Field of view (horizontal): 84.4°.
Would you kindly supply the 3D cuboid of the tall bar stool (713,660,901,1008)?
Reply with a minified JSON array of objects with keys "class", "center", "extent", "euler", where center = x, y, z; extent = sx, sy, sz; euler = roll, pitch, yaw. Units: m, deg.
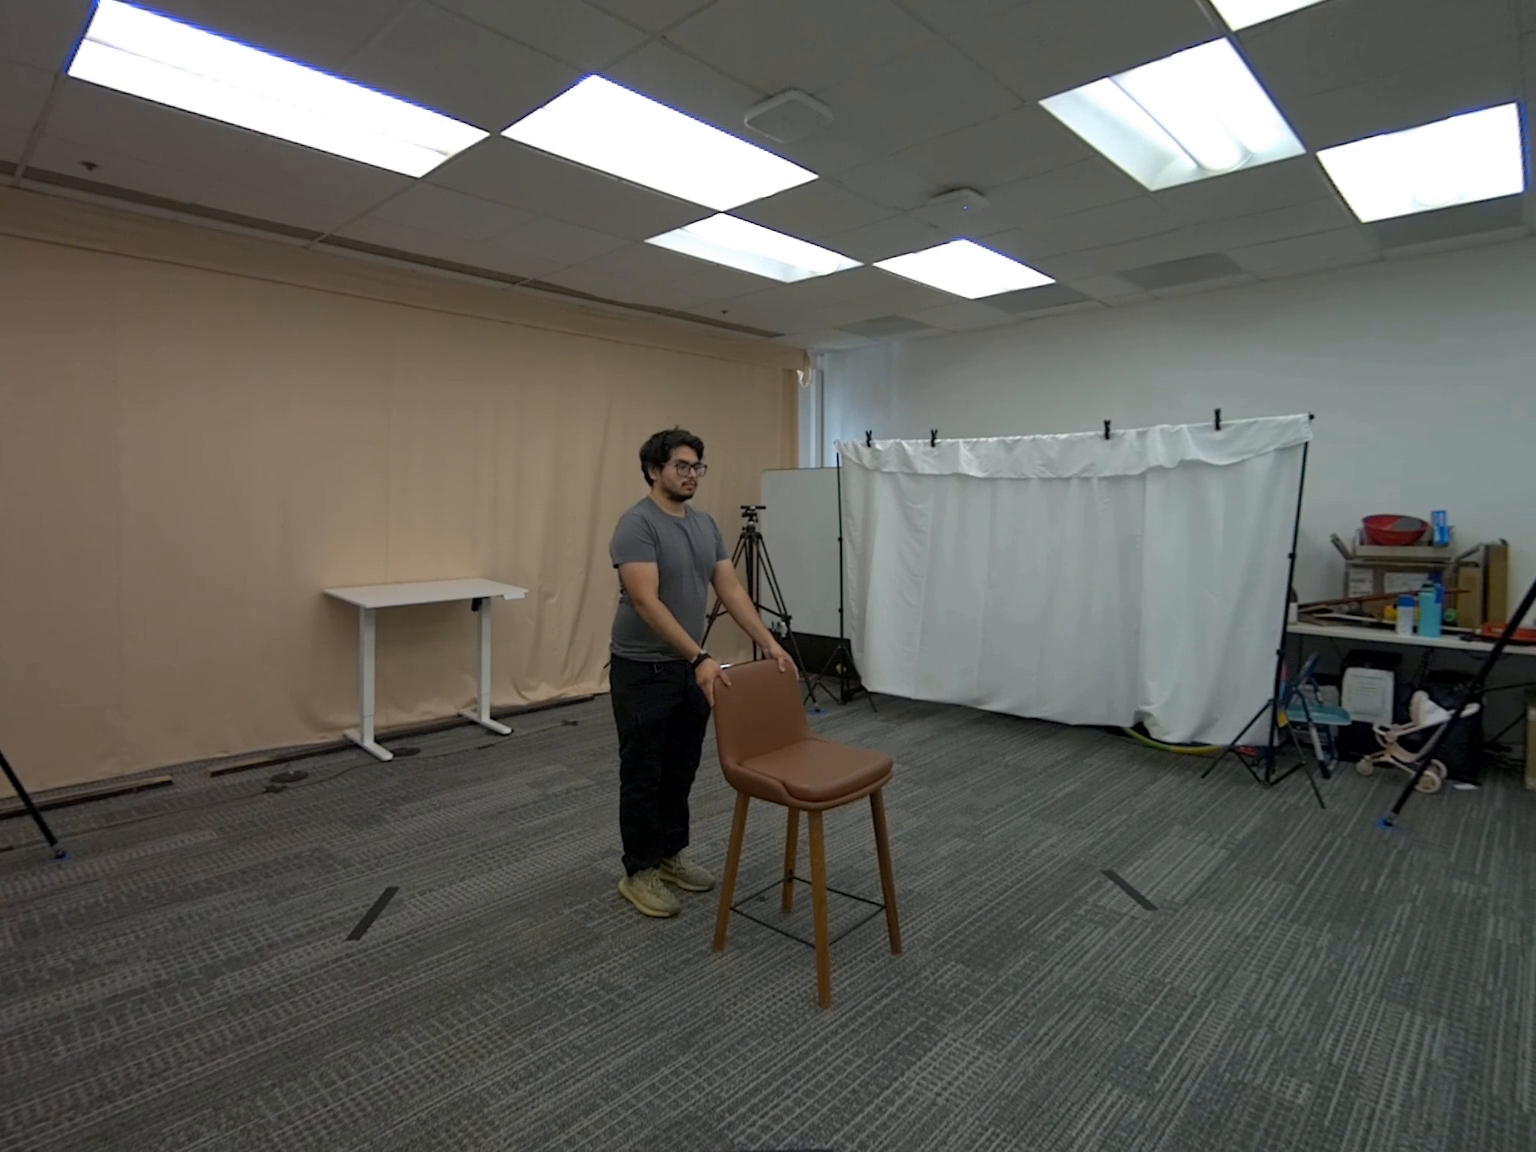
[{"class":"tall bar stool","center":[0.110,0.737,2.611],"extent":[0.483,0.889,0.442],"euler":[0,3,42]}]
